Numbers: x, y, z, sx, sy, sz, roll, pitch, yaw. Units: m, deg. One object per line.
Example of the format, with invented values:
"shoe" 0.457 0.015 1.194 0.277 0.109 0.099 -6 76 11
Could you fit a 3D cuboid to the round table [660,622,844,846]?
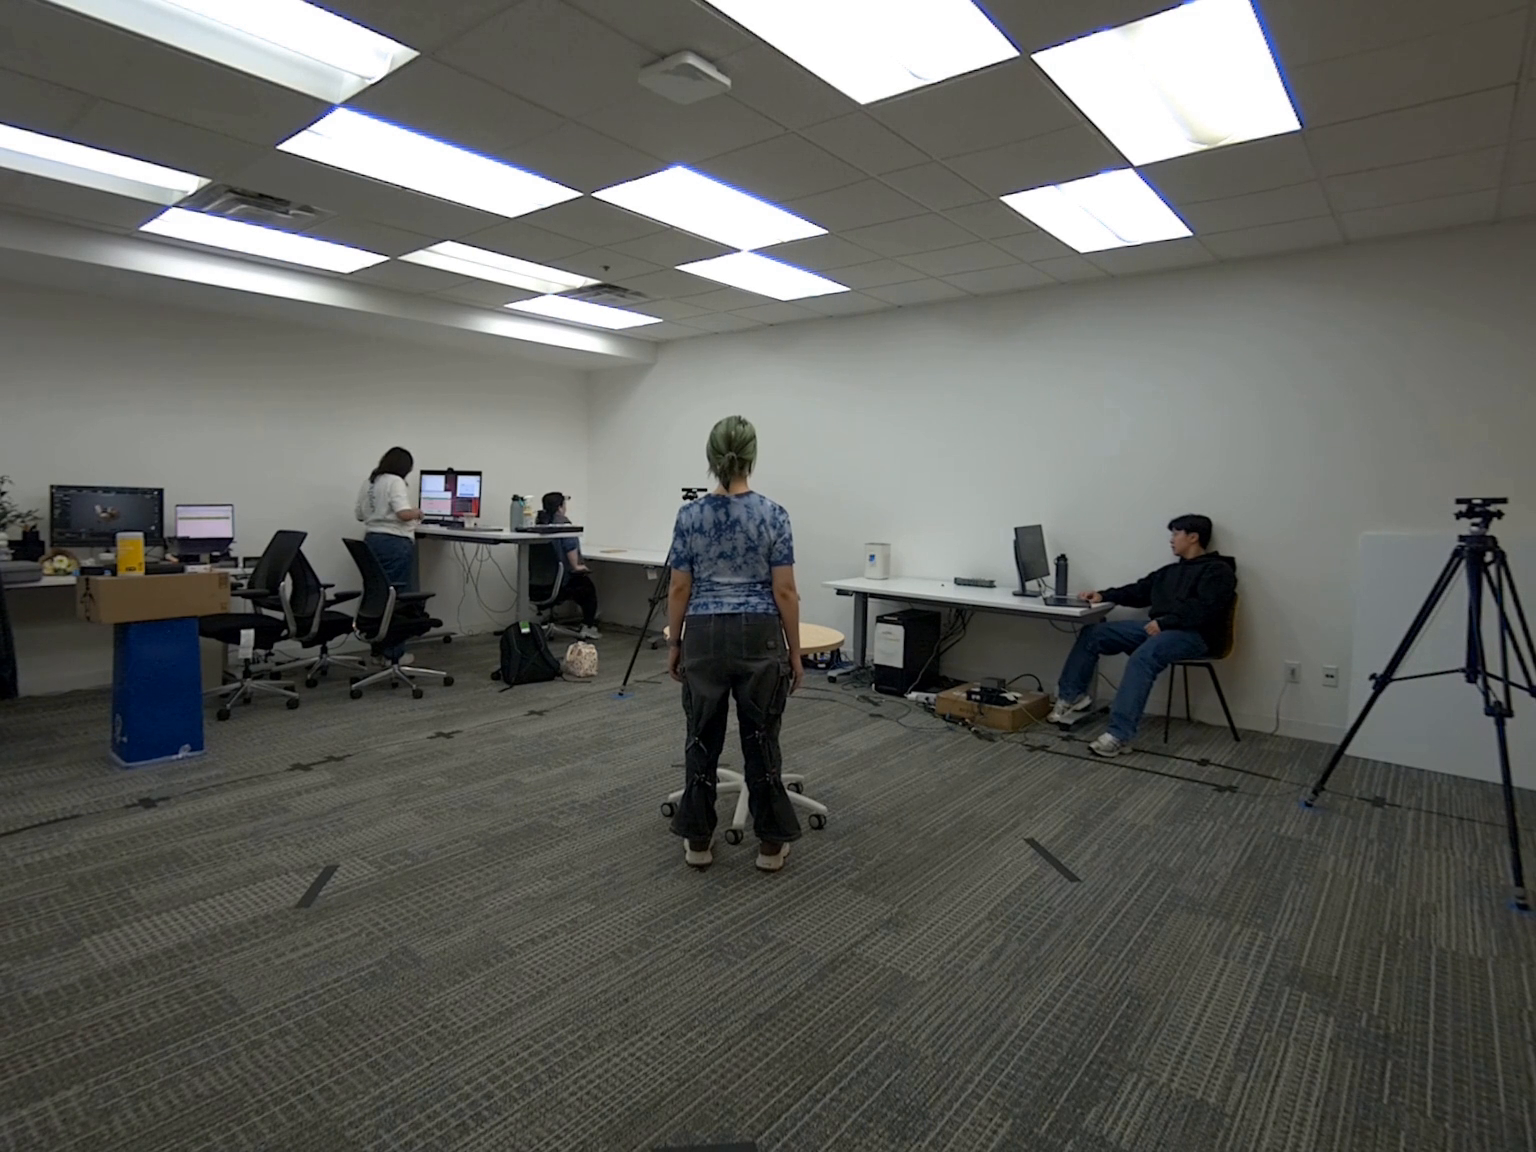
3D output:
"round table" -0.067 0.625 3.629 0.784 0.784 0.789 1 4 -2
